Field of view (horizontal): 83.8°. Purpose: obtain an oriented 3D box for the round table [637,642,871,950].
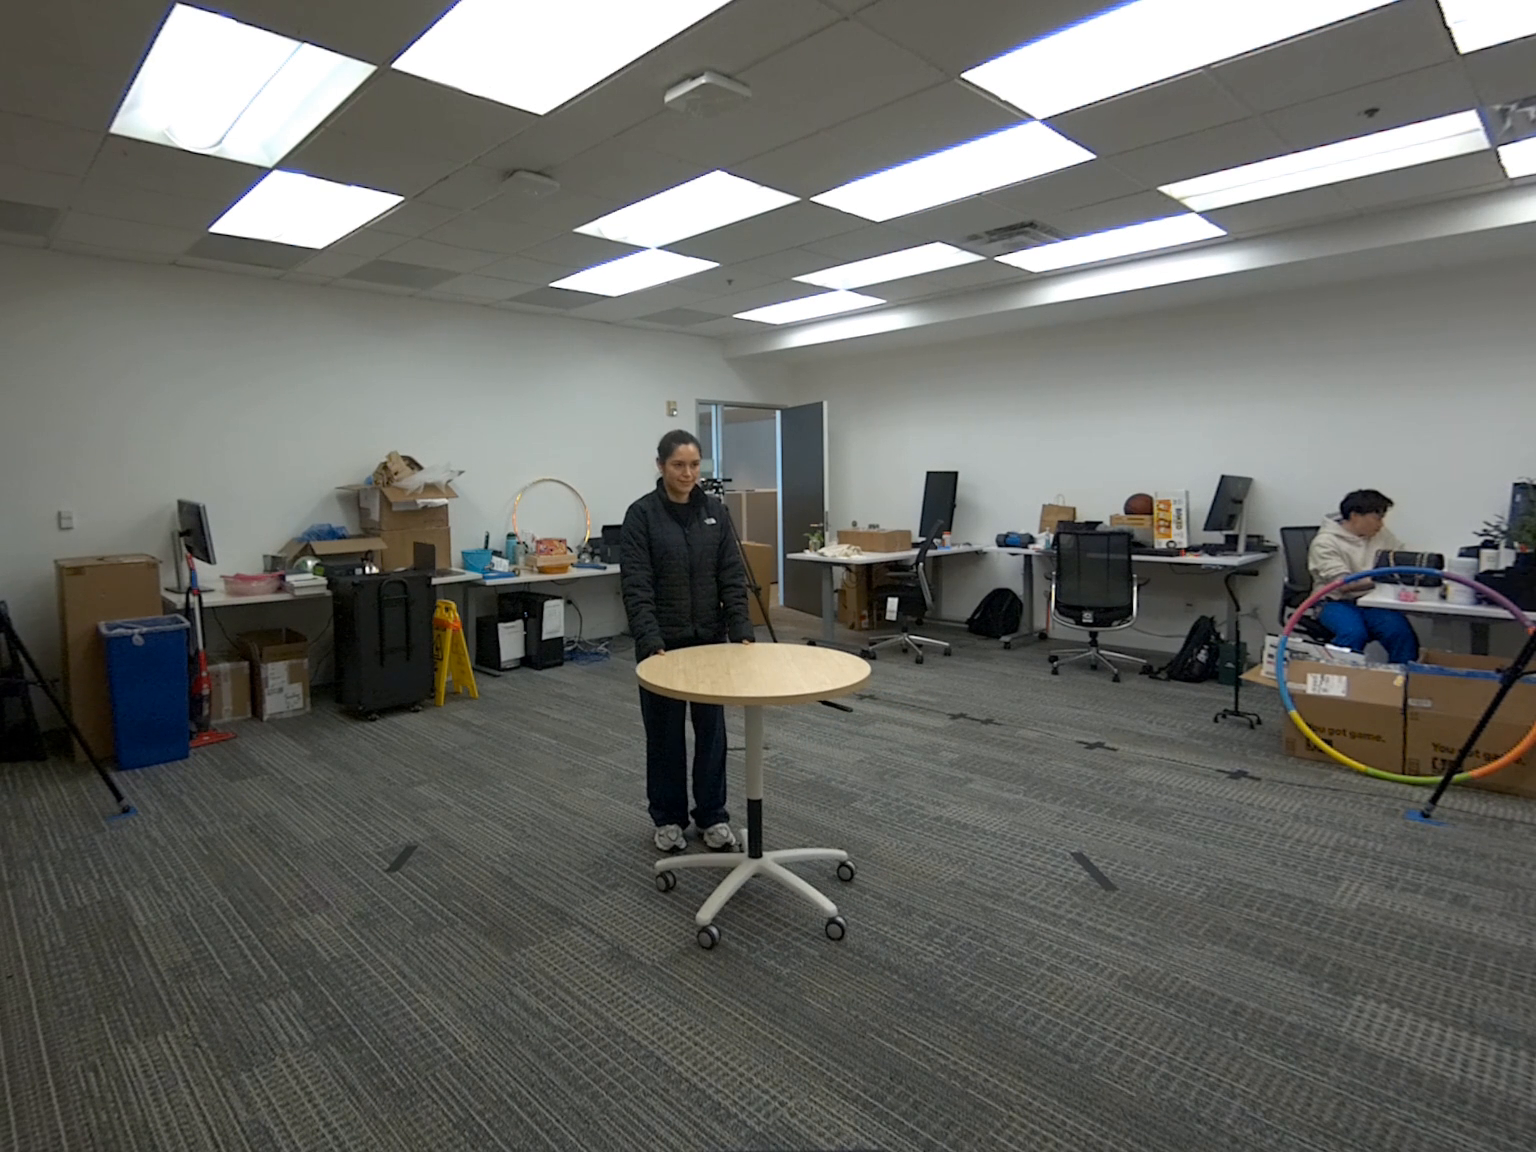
[{"bbox_3d":[-0.039,0.682,2.850,0.784,0.783,0.789,-1,5,-2],"label":"round table"}]
